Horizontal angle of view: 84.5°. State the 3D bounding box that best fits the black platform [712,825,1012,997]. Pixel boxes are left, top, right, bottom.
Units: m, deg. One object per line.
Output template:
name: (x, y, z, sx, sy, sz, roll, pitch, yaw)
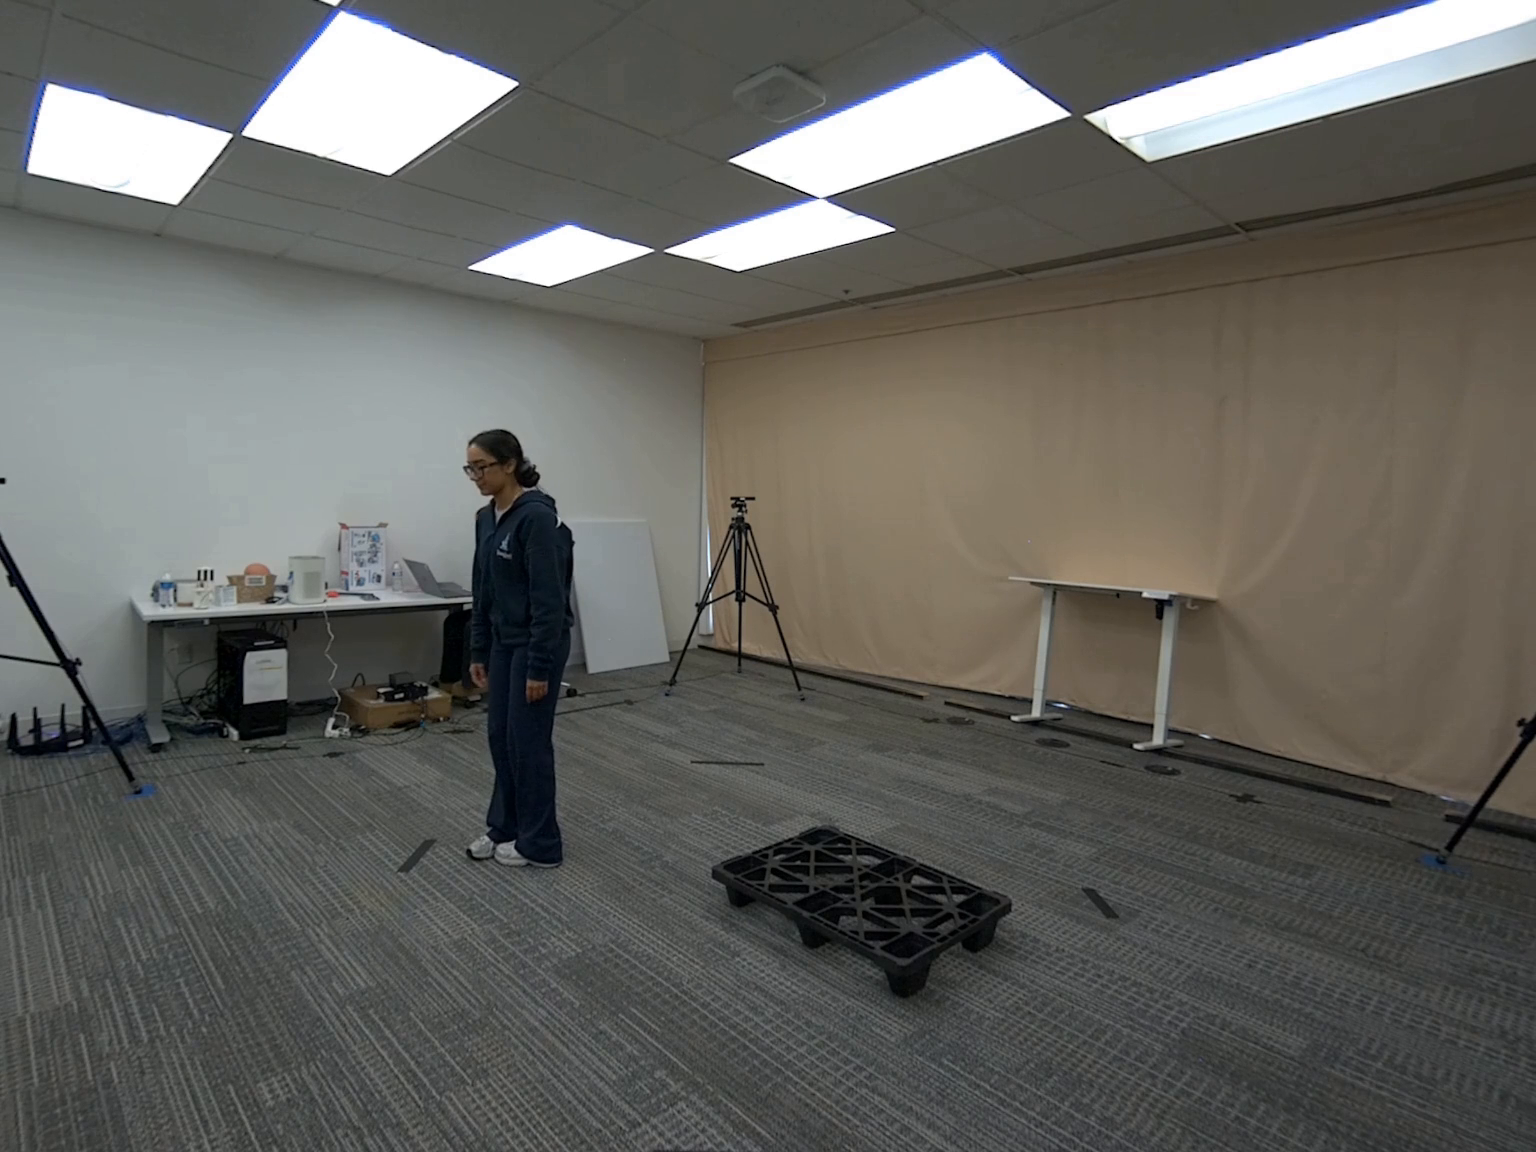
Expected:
black platform: (0.285, 1.081, 2.789, 0.591, 0.143, 0.826, -3, 7, -44)
